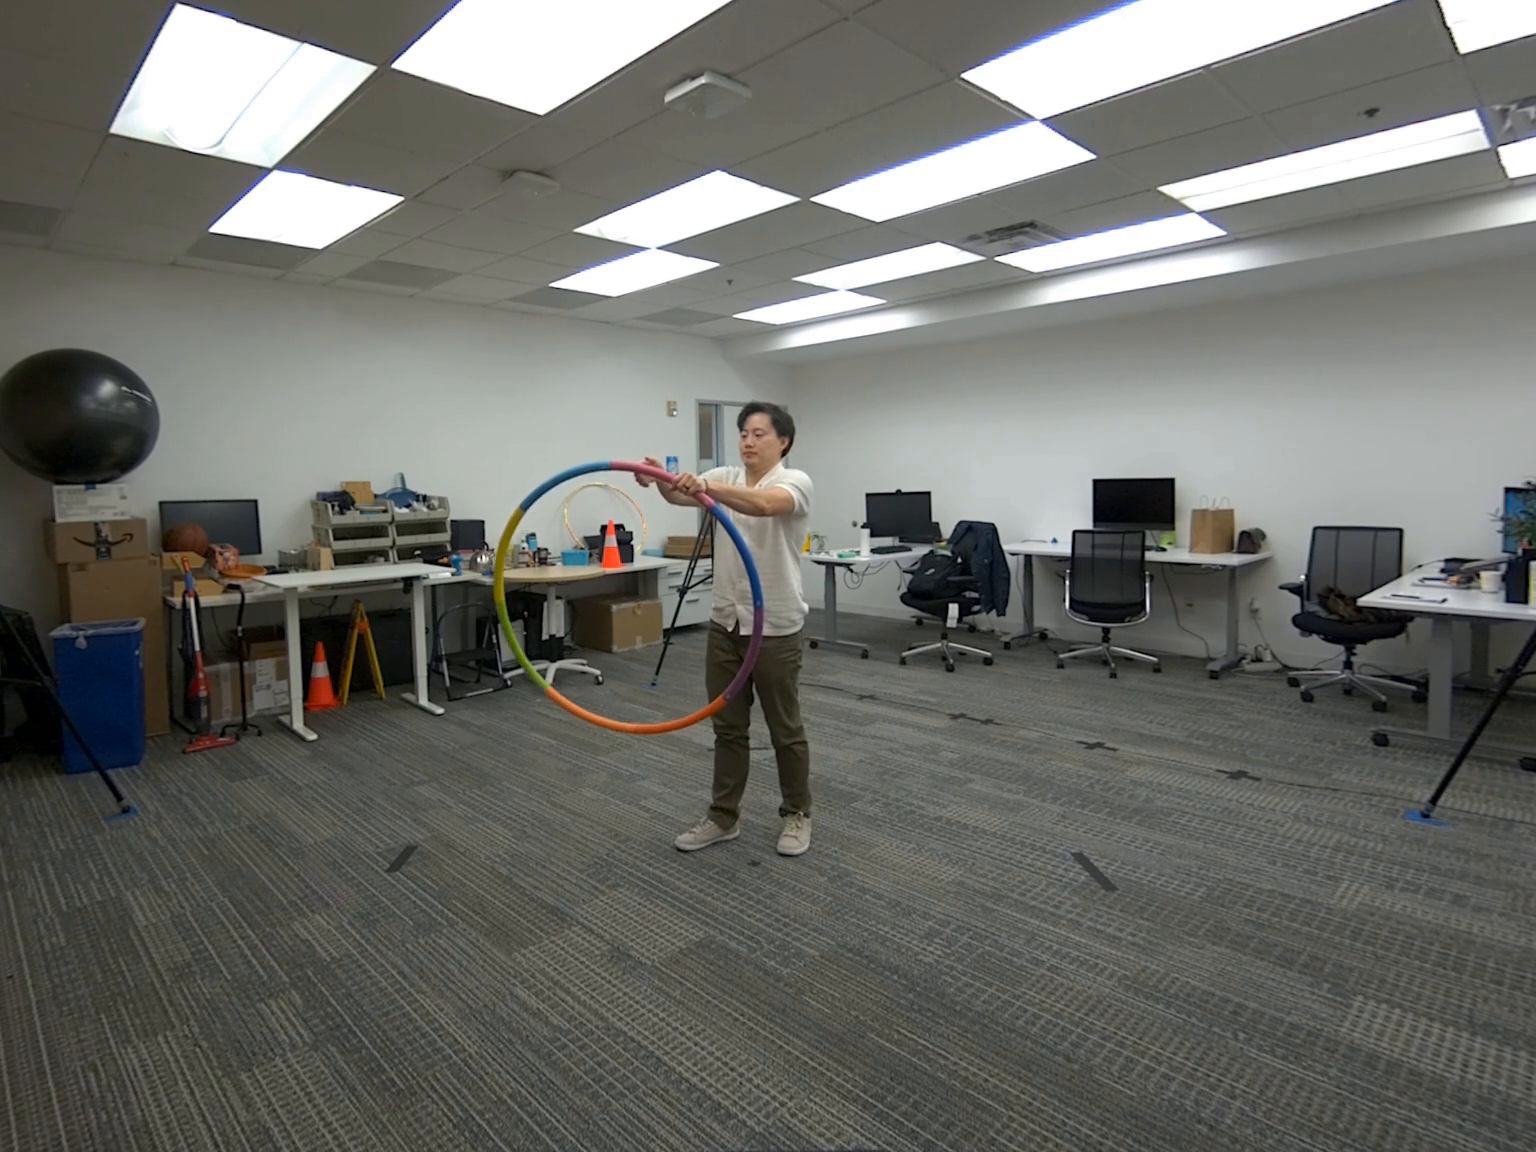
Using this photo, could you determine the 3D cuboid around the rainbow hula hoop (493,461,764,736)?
[{"bbox_3d":[-0.489,0.097,2.930,0.993,0.963,0.035,1,17,15],"label":"rainbow hula hoop"}]
